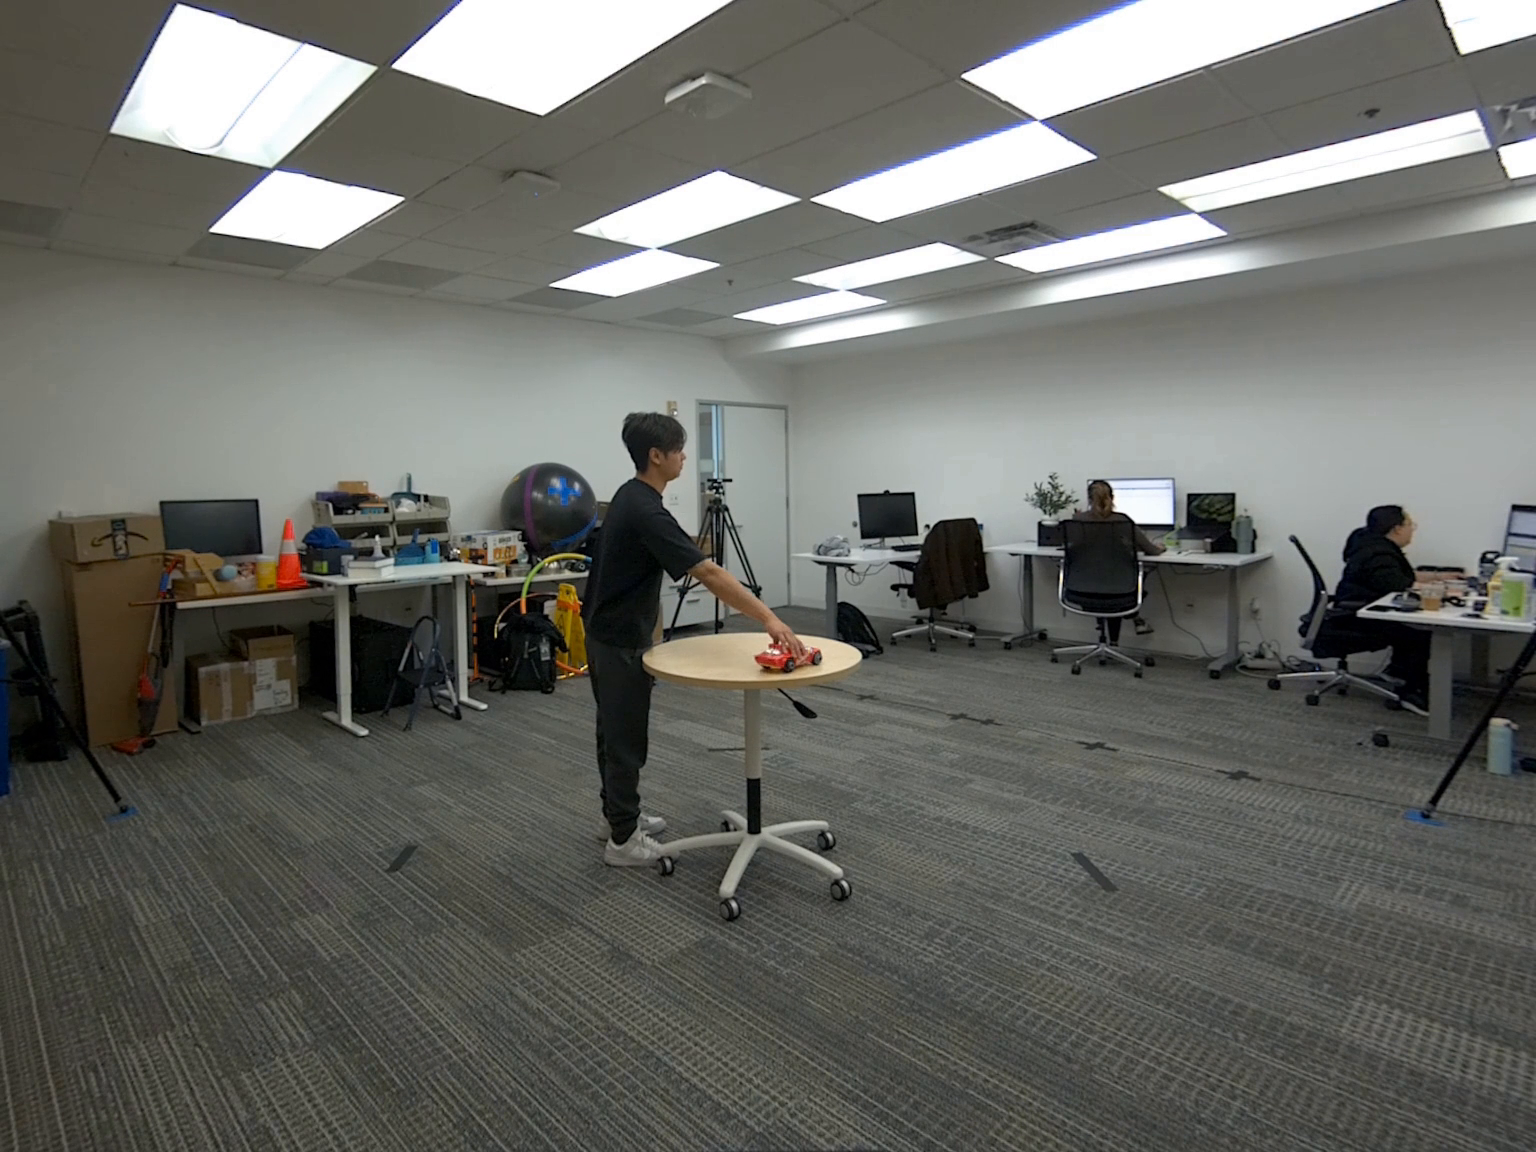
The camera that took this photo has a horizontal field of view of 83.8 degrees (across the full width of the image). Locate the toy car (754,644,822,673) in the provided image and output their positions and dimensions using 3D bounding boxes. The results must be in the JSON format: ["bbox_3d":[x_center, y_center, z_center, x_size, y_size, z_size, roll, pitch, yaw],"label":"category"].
[{"bbox_3d":[0.067,0.269,2.783,0.134,0.083,0.246,5,-3,43],"label":"toy car"}]
